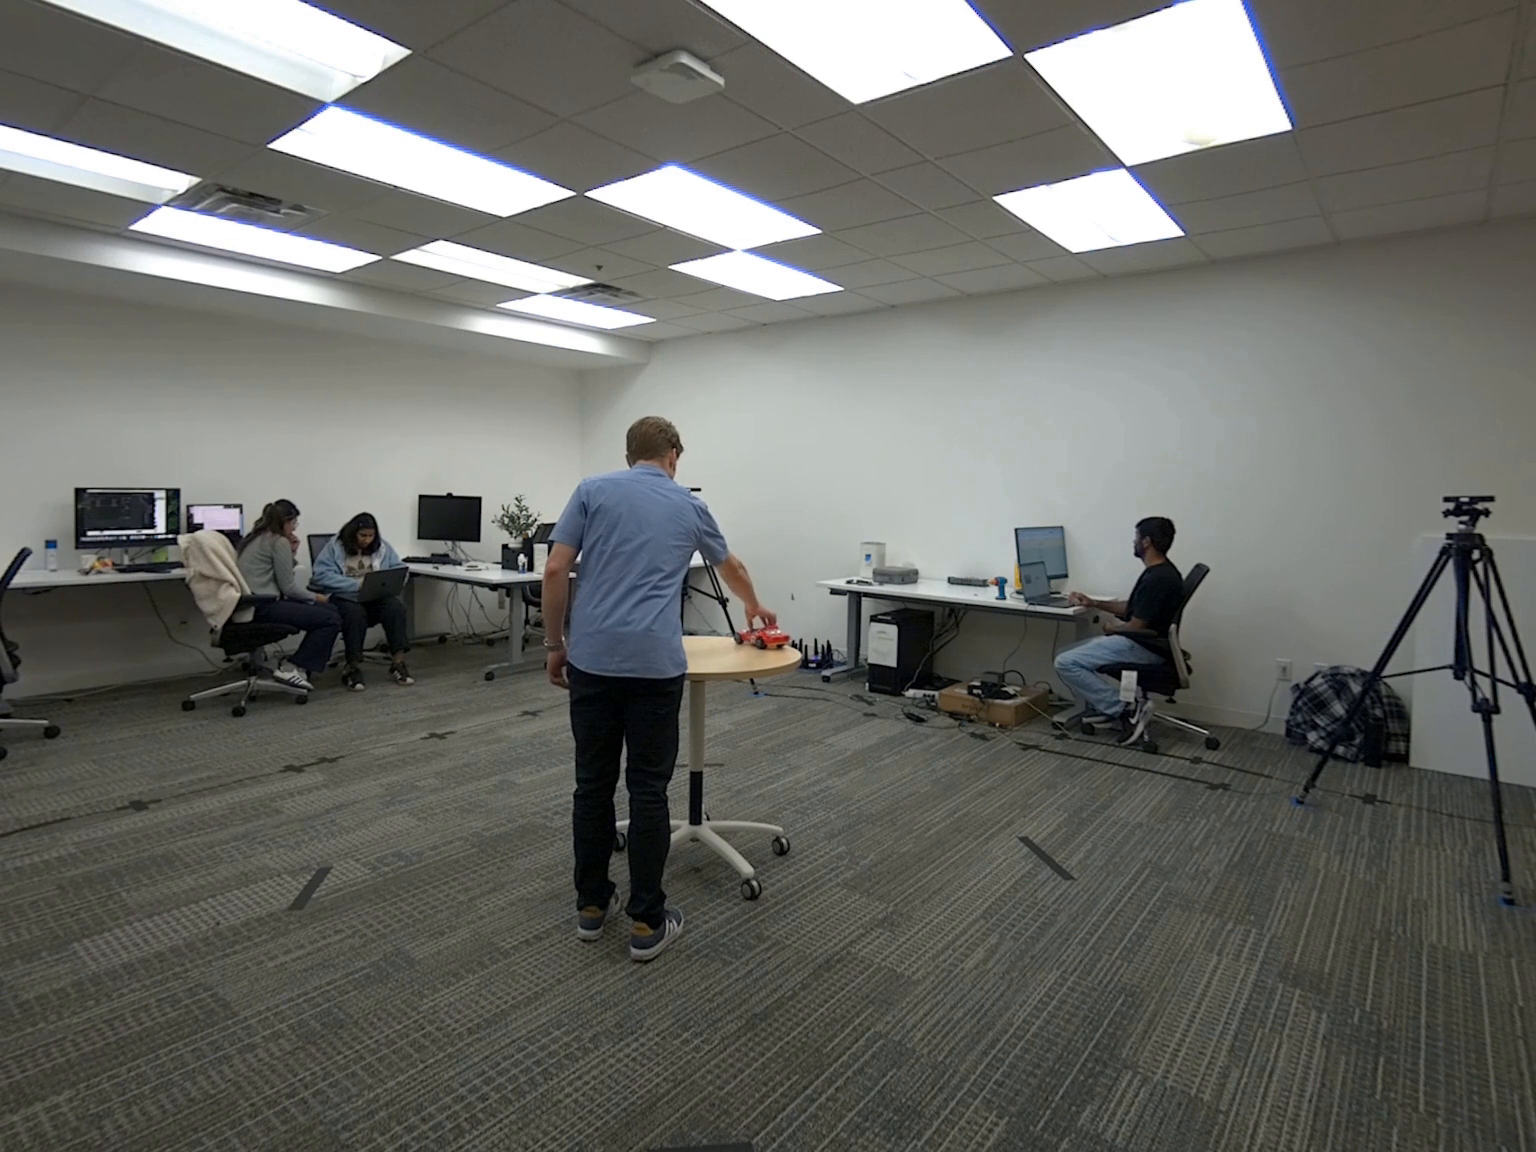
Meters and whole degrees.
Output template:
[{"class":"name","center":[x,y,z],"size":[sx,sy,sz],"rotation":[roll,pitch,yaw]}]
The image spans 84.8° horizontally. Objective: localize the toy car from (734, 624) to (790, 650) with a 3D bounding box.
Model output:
[{"class":"toy car","center":[-0.026,0.240,3.306],"size":[0.126,0.084,0.260],"rotation":[-1,-6,-36]}]
